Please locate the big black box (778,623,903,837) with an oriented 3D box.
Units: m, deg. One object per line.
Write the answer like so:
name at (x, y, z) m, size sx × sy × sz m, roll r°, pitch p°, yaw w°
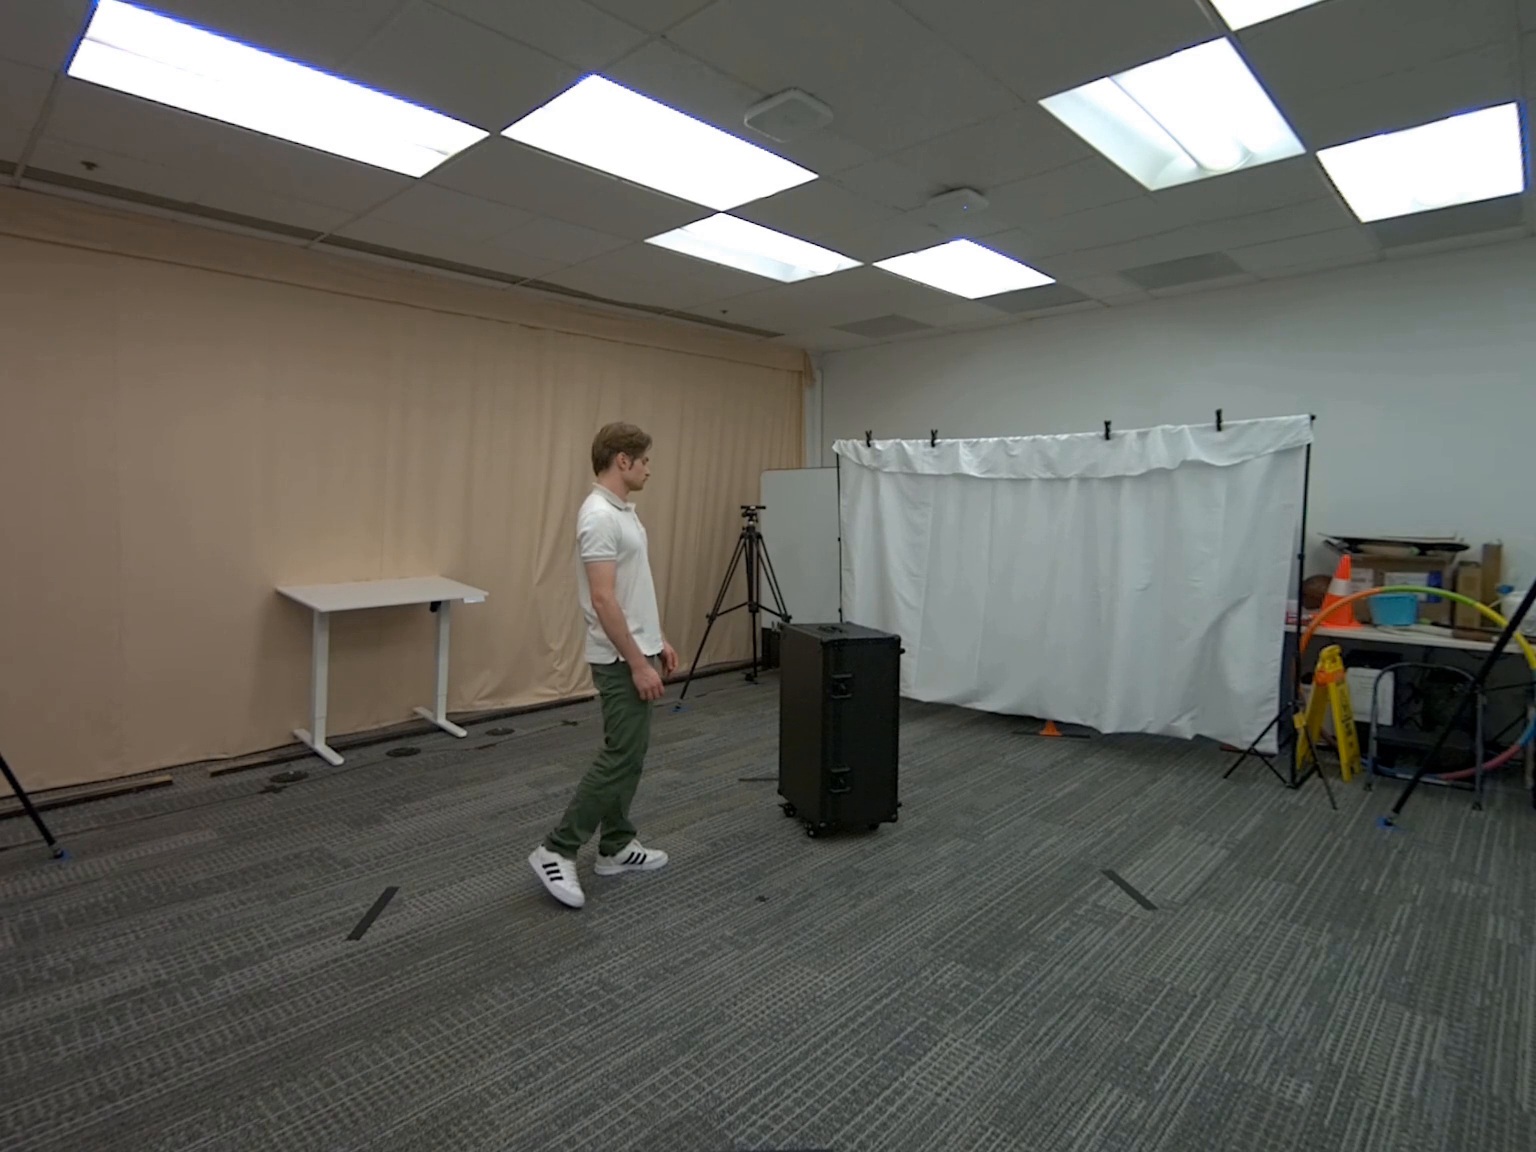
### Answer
big black box at (0.302, 0.664, 3.690) m, size 0.378 × 0.867 × 0.534 m, roll 0°, pitch 2°, yaw -18°
